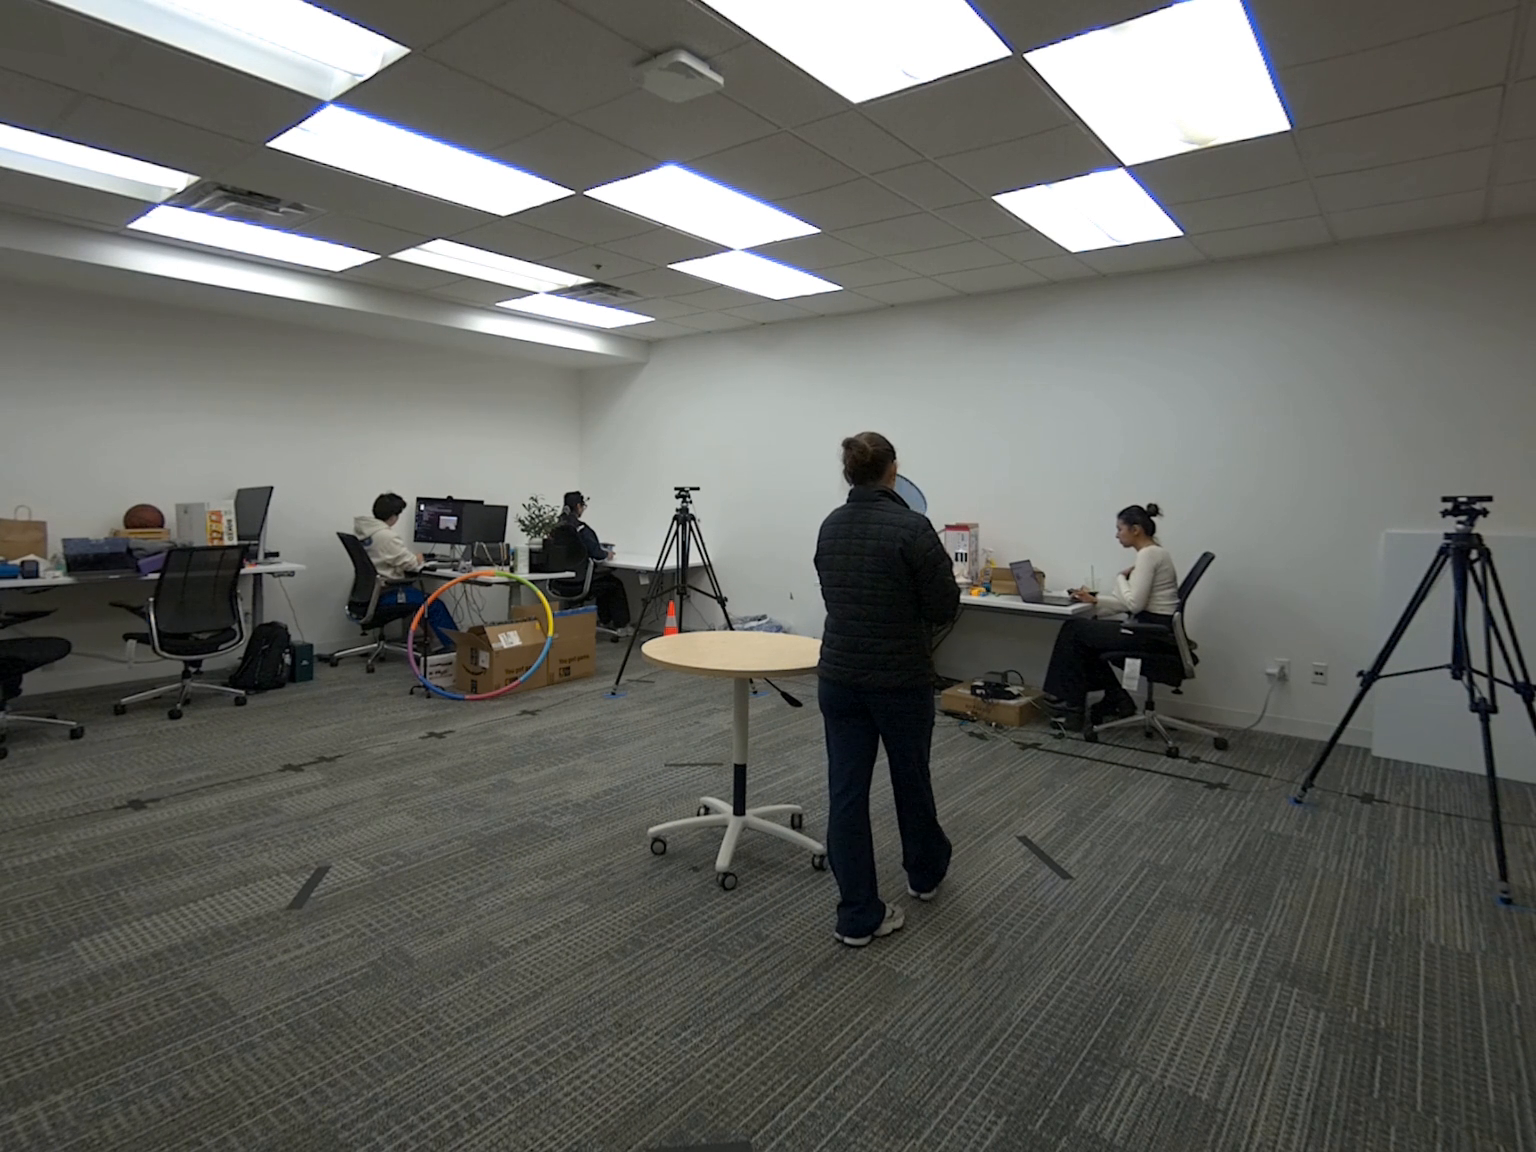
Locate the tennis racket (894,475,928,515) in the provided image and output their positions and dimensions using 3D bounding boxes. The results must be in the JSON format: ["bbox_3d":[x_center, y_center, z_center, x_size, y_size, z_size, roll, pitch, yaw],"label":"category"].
[{"bbox_3d":[0.501,-0.208,2.992,0.210,0.031,0.447,5,44,-14],"label":"tennis racket"}]
